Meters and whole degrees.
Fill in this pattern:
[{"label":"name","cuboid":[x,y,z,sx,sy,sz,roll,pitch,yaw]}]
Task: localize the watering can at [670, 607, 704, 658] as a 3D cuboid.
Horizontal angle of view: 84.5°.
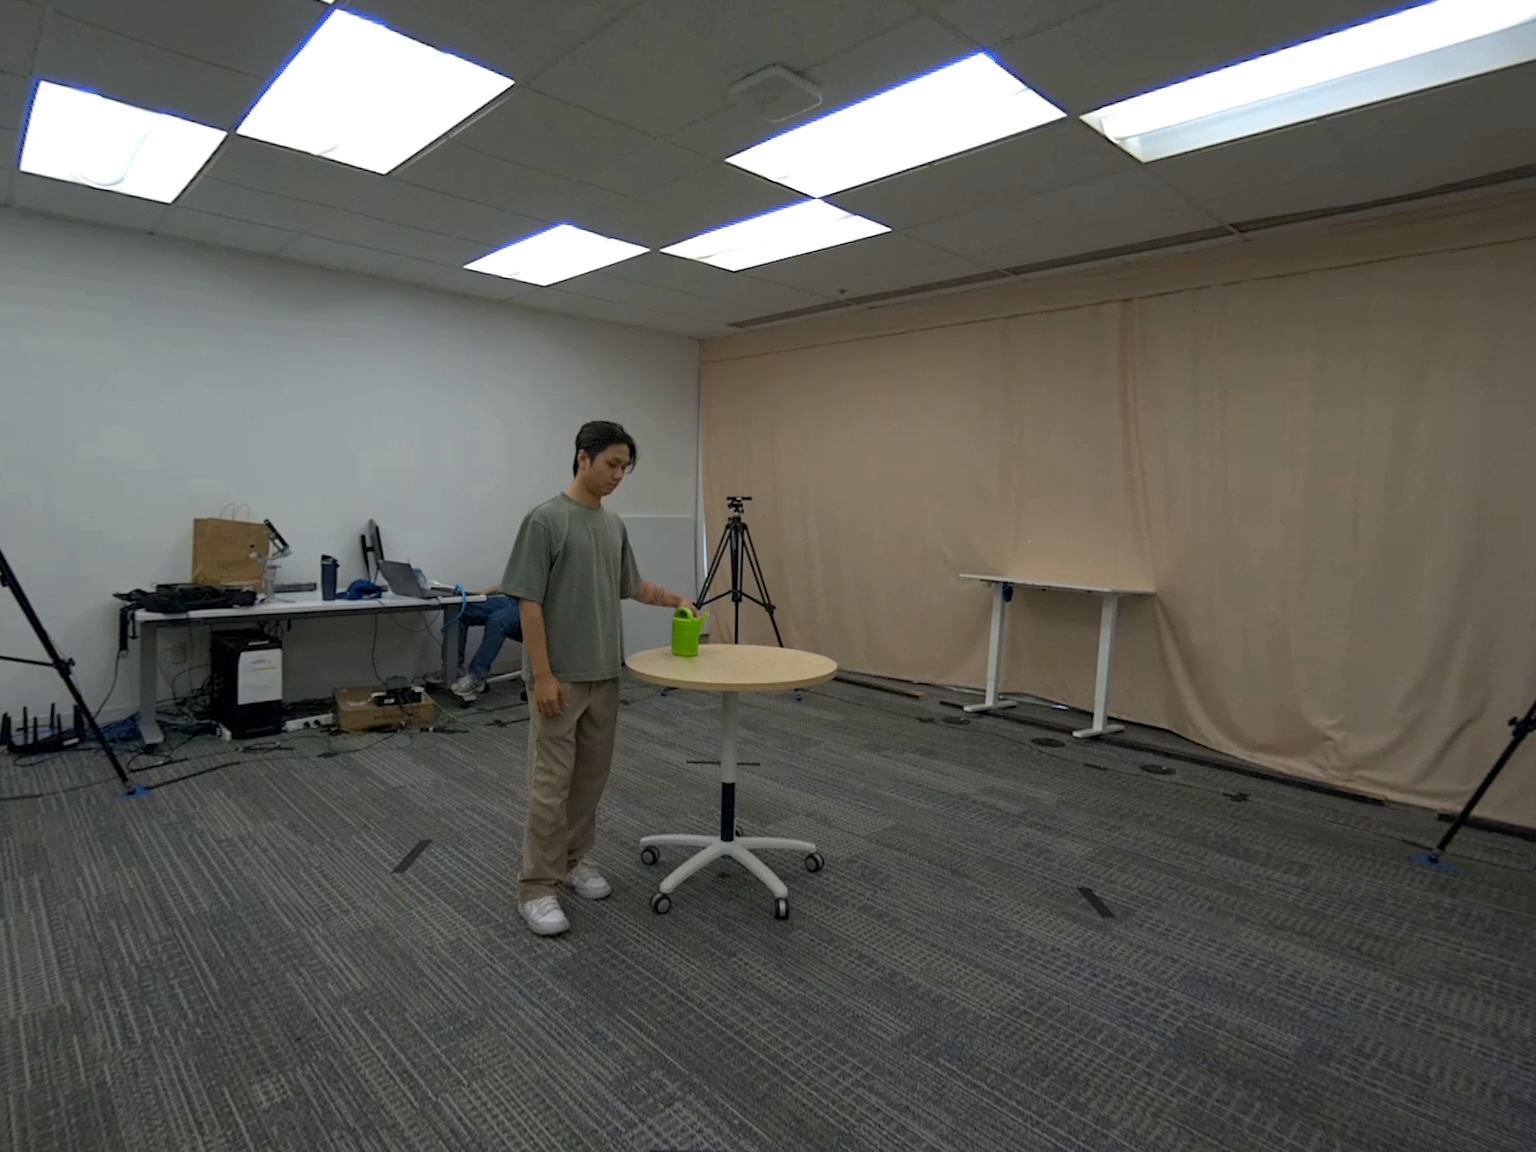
[{"label":"watering can","cuboid":[-0.319,0.216,3.147,0.097,0.176,0.281,-4,4,-13]}]
